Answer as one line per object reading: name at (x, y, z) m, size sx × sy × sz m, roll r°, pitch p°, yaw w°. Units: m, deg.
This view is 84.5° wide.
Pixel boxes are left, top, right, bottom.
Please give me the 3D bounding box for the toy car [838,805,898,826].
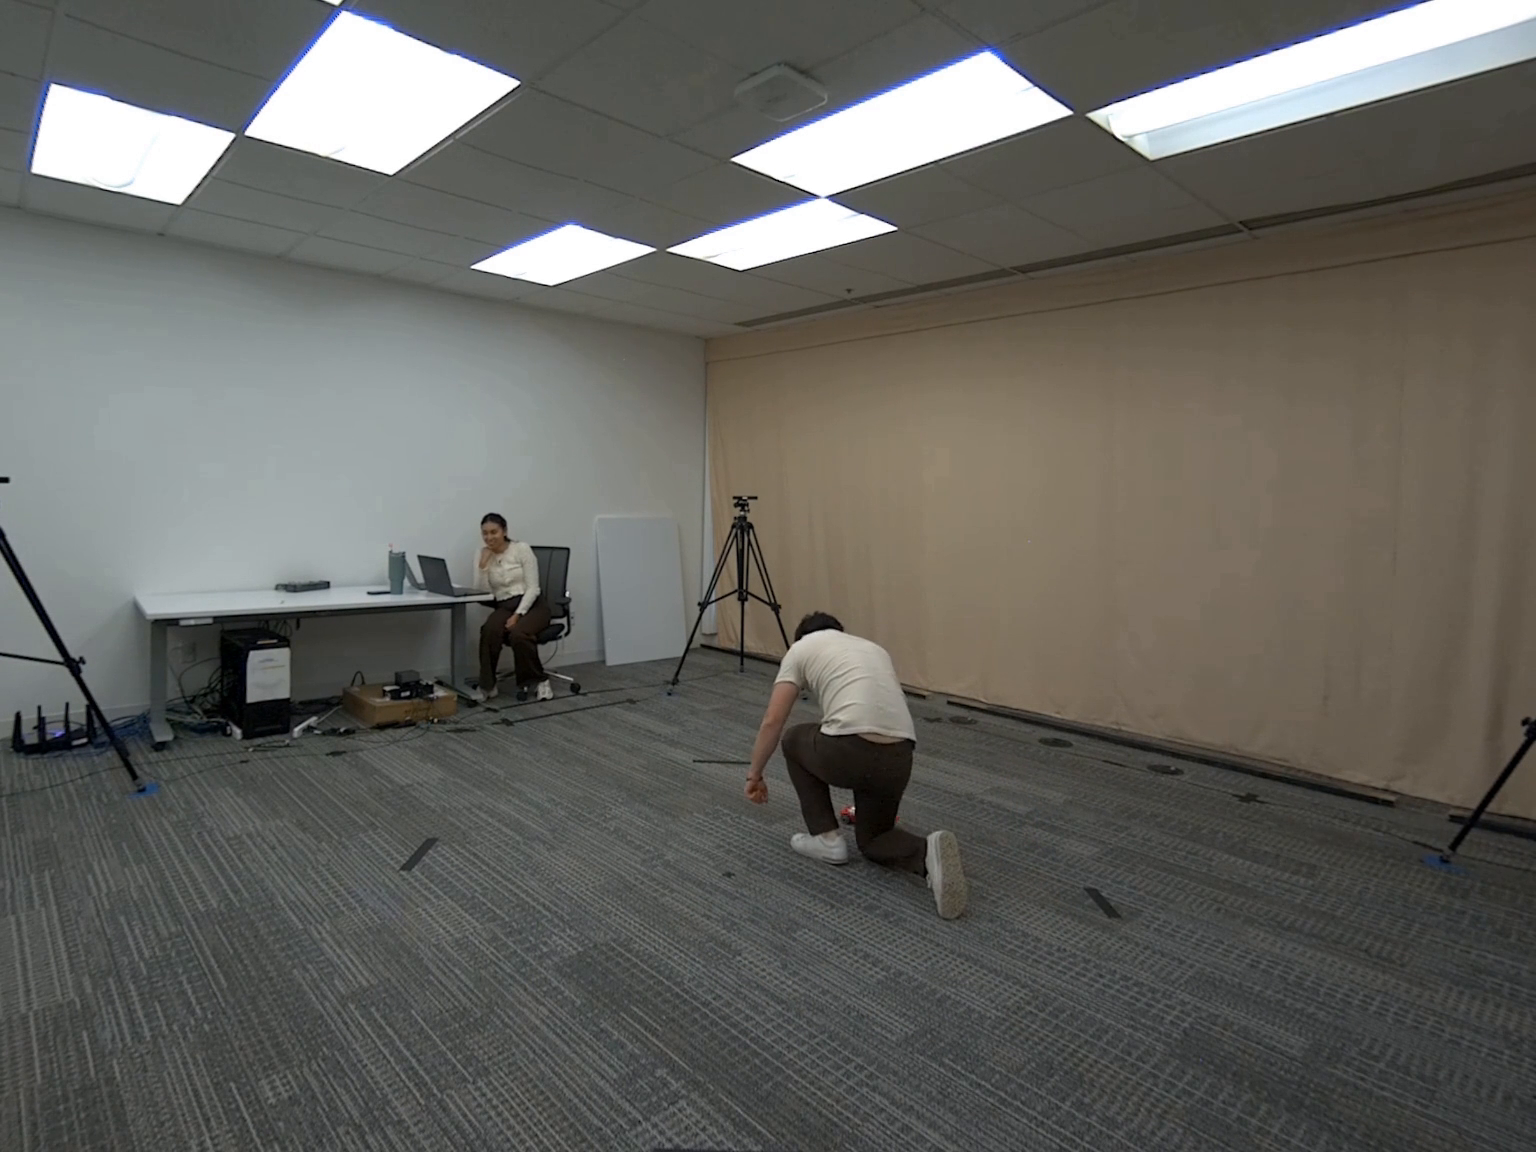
toy car at (0.434, 1.044, 3.622) m, size 0.259 × 0.083 × 0.128 m, roll -7°, pitch -2°, yaw 31°
